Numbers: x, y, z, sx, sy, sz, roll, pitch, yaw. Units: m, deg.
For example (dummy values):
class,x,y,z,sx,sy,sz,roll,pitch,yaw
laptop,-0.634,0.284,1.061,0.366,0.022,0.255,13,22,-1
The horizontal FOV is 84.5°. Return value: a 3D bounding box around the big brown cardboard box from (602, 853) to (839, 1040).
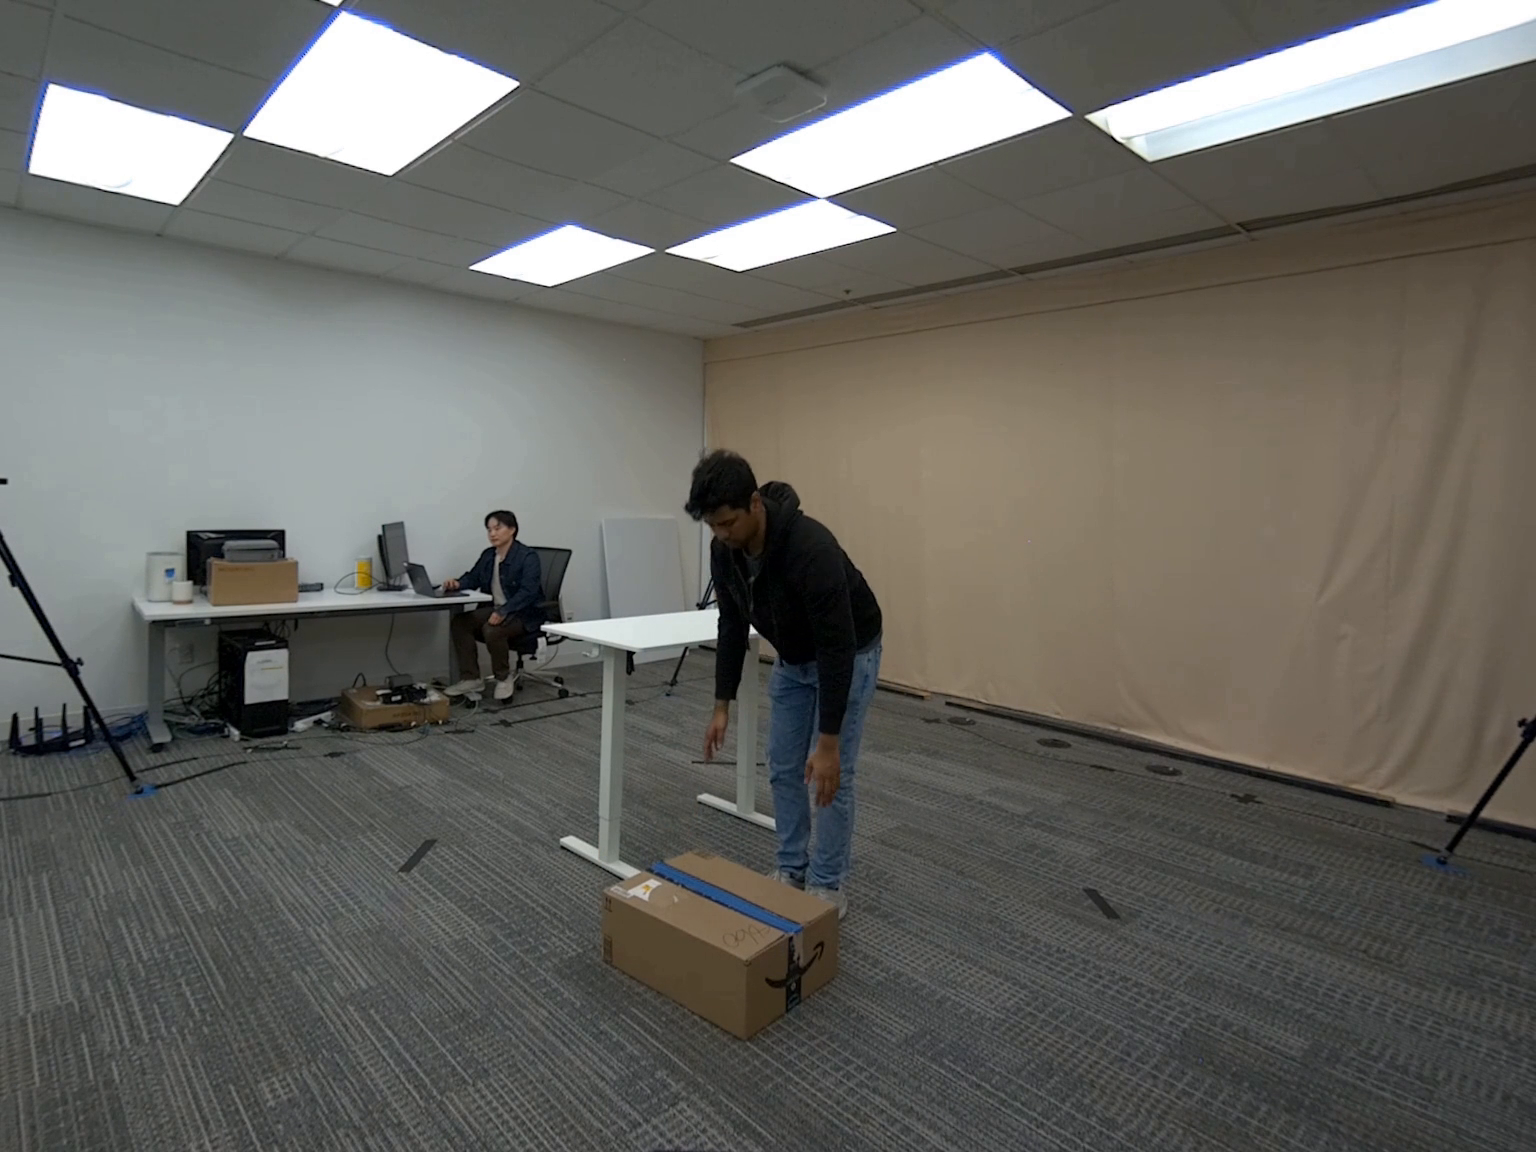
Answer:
class,x,y,z,sx,sy,sz,roll,pitch,yaw
big brown cardboard box,-0.155,1.054,2.486,0.604,0.232,0.408,6,7,39
